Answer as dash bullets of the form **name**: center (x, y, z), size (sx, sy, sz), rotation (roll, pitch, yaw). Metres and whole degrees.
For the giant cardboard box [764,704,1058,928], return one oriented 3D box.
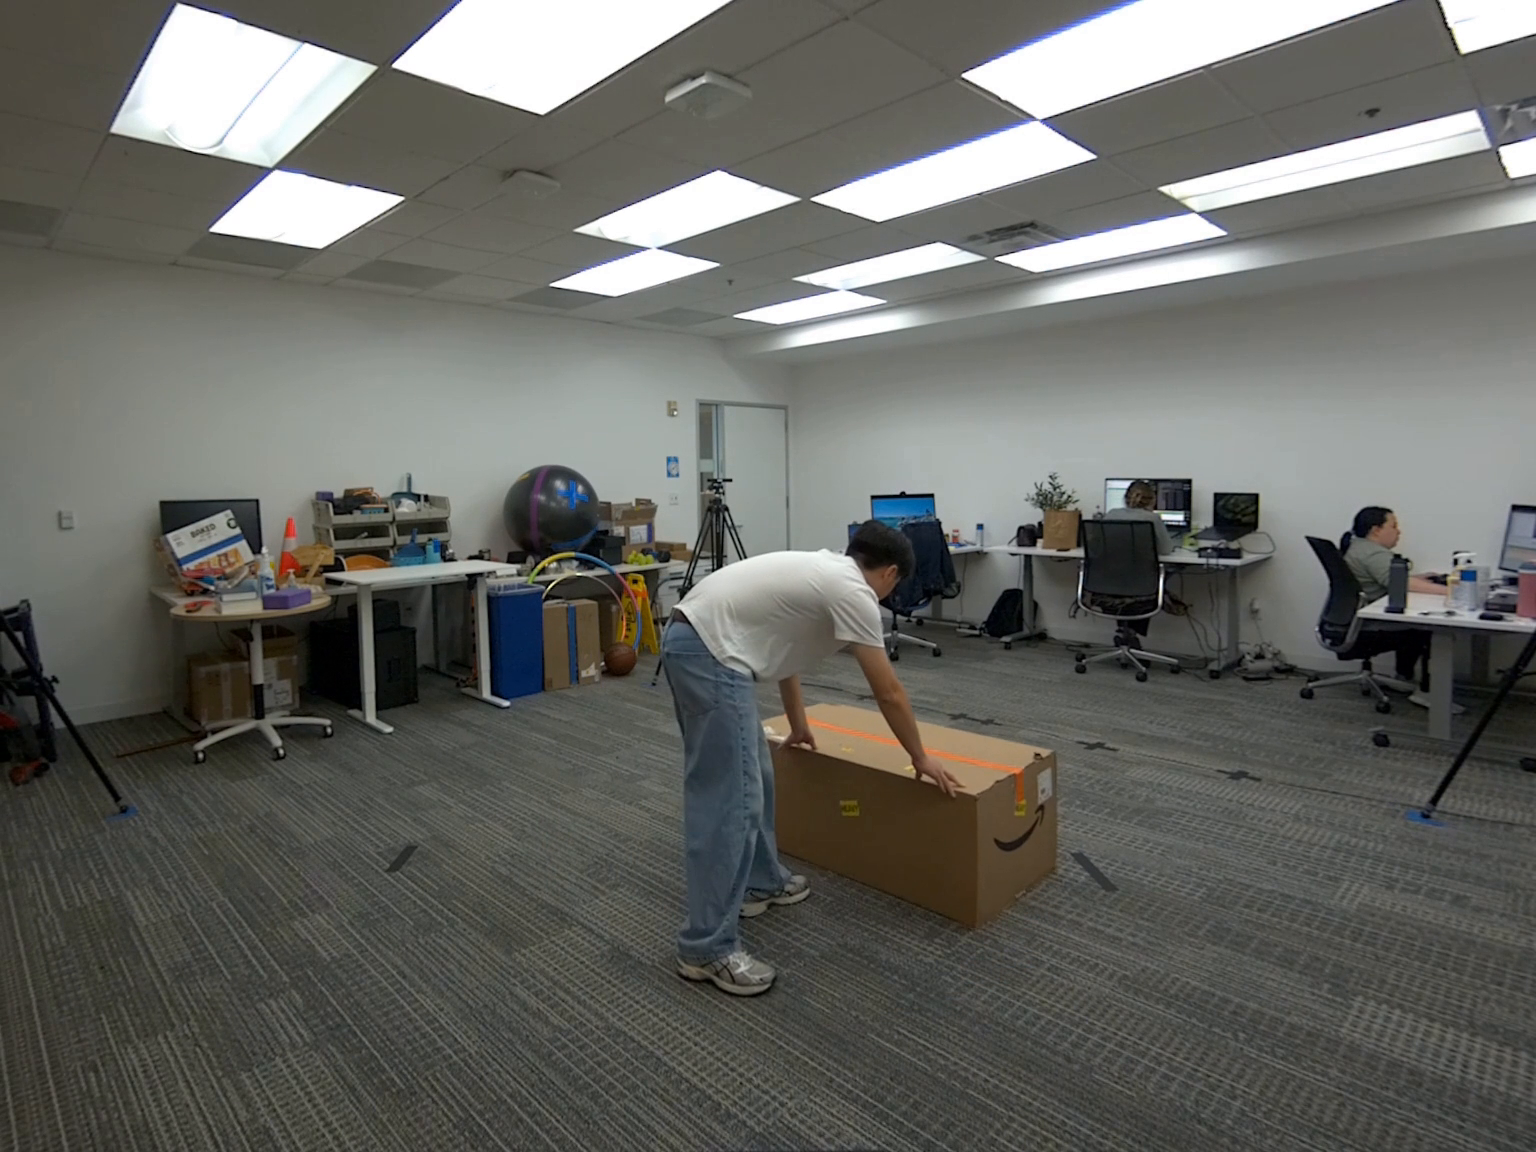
- **giant cardboard box**: center (0.454, 0.815, 3.173), size (1.058, 0.424, 0.563), rotation (5, 9, 44)
